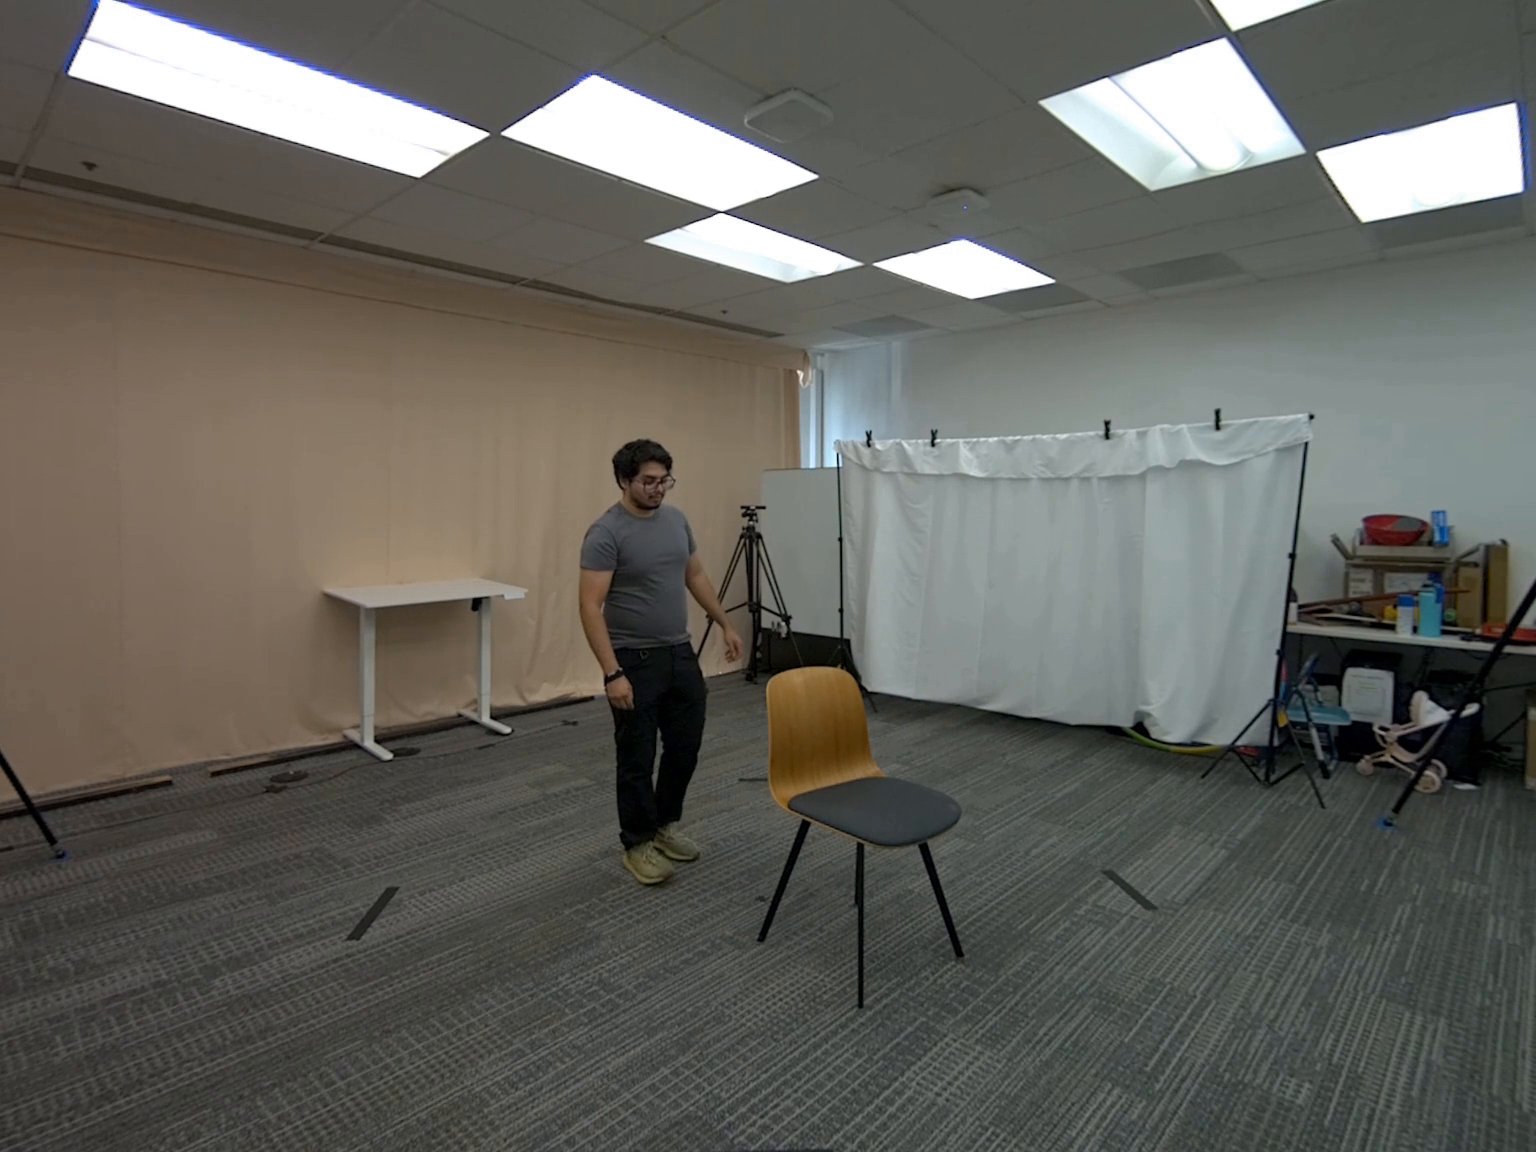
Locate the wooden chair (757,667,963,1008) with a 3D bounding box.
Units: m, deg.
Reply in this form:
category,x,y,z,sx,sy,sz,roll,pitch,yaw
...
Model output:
category,x,y,z,sx,sy,sz,roll,pitch,yaw
wooden chair,0.290,0.748,2.605,0.464,0.877,0.539,-3,0,-38
